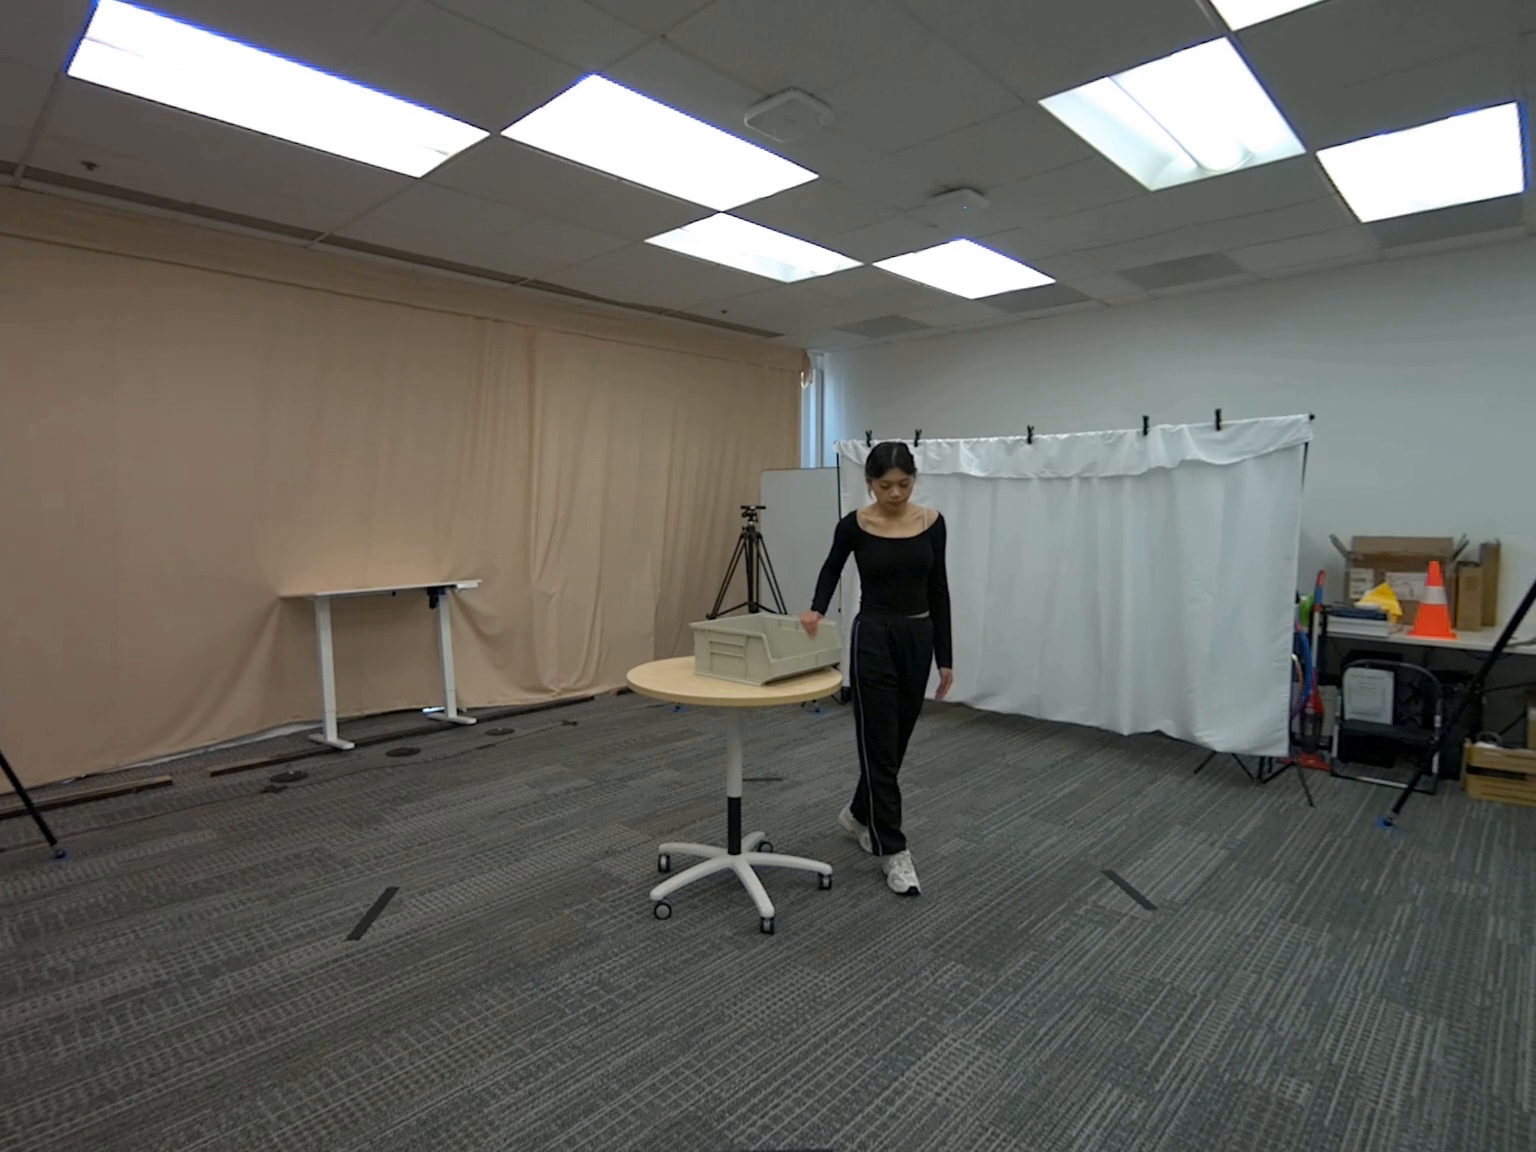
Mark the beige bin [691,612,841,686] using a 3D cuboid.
[{"bbox_3d":[0.002,0.257,3.025,0.389,0.188,0.410,2,5,41],"label":"beige bin"}]
